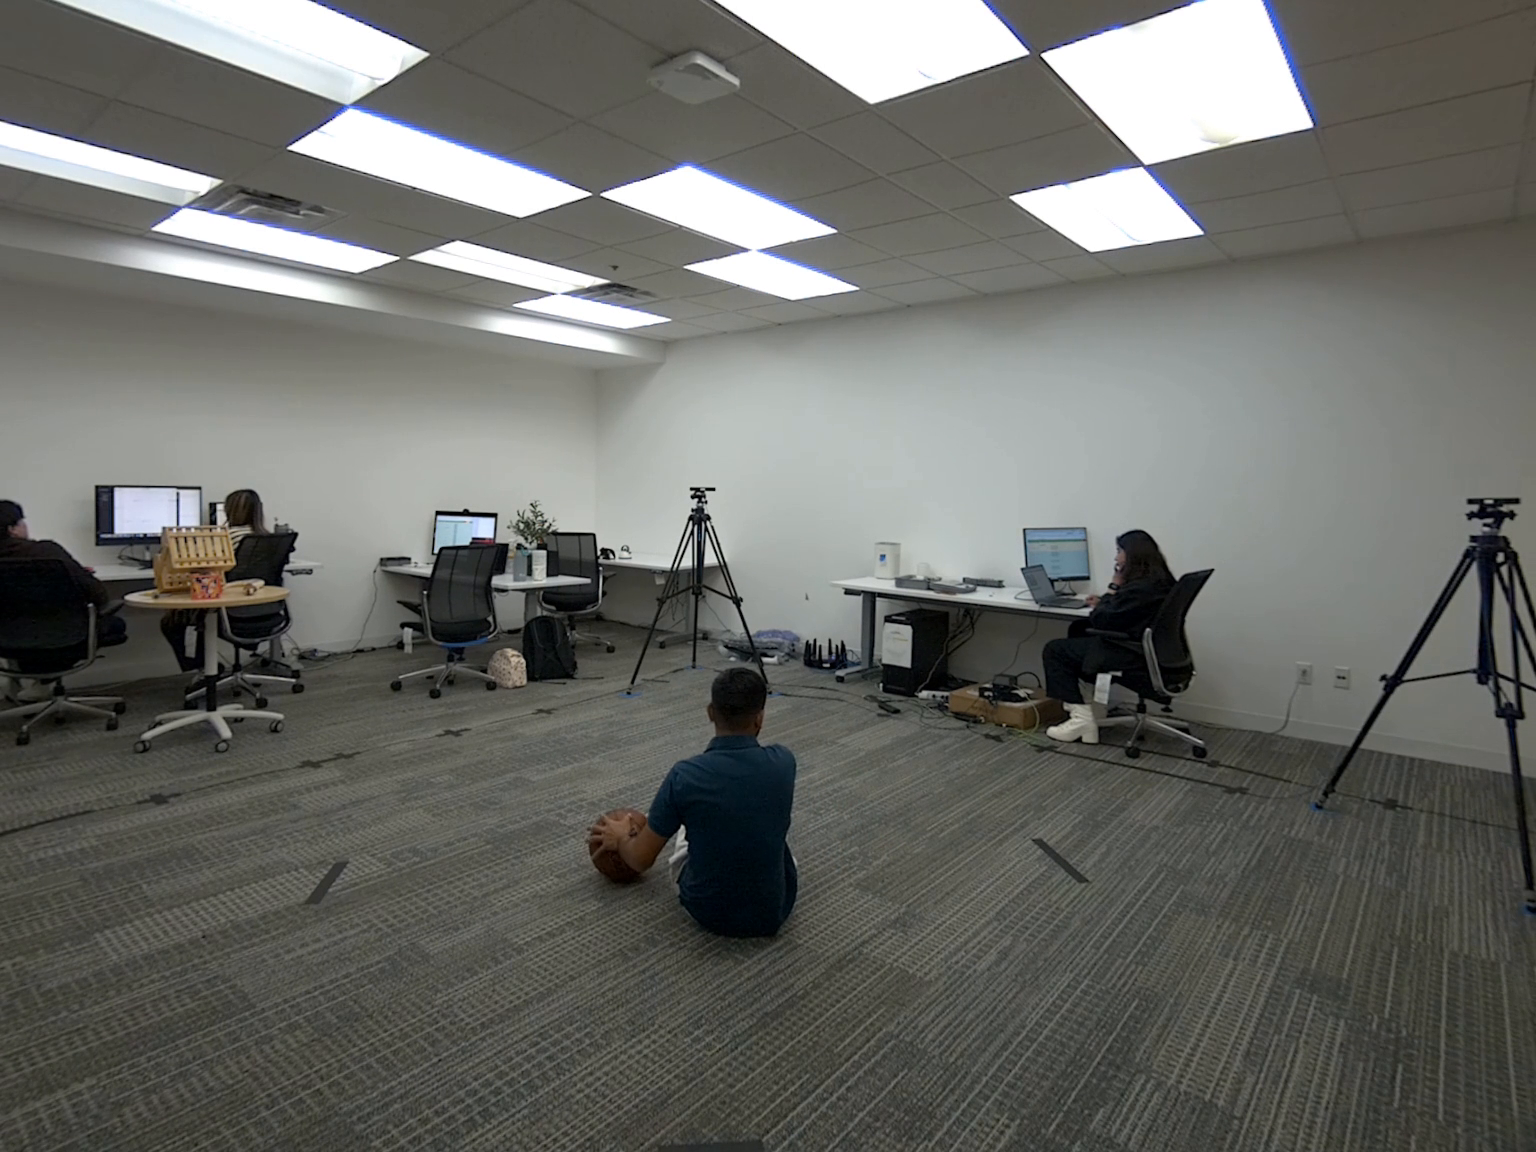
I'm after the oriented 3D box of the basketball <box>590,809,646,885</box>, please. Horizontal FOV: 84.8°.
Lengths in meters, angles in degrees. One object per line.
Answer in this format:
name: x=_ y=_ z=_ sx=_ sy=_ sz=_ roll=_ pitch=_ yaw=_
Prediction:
basketball: x=-0.529 y=0.947 z=3.031 sx=0.235 sy=0.235 sz=0.237 roll=1 pitch=4 yaw=-2
